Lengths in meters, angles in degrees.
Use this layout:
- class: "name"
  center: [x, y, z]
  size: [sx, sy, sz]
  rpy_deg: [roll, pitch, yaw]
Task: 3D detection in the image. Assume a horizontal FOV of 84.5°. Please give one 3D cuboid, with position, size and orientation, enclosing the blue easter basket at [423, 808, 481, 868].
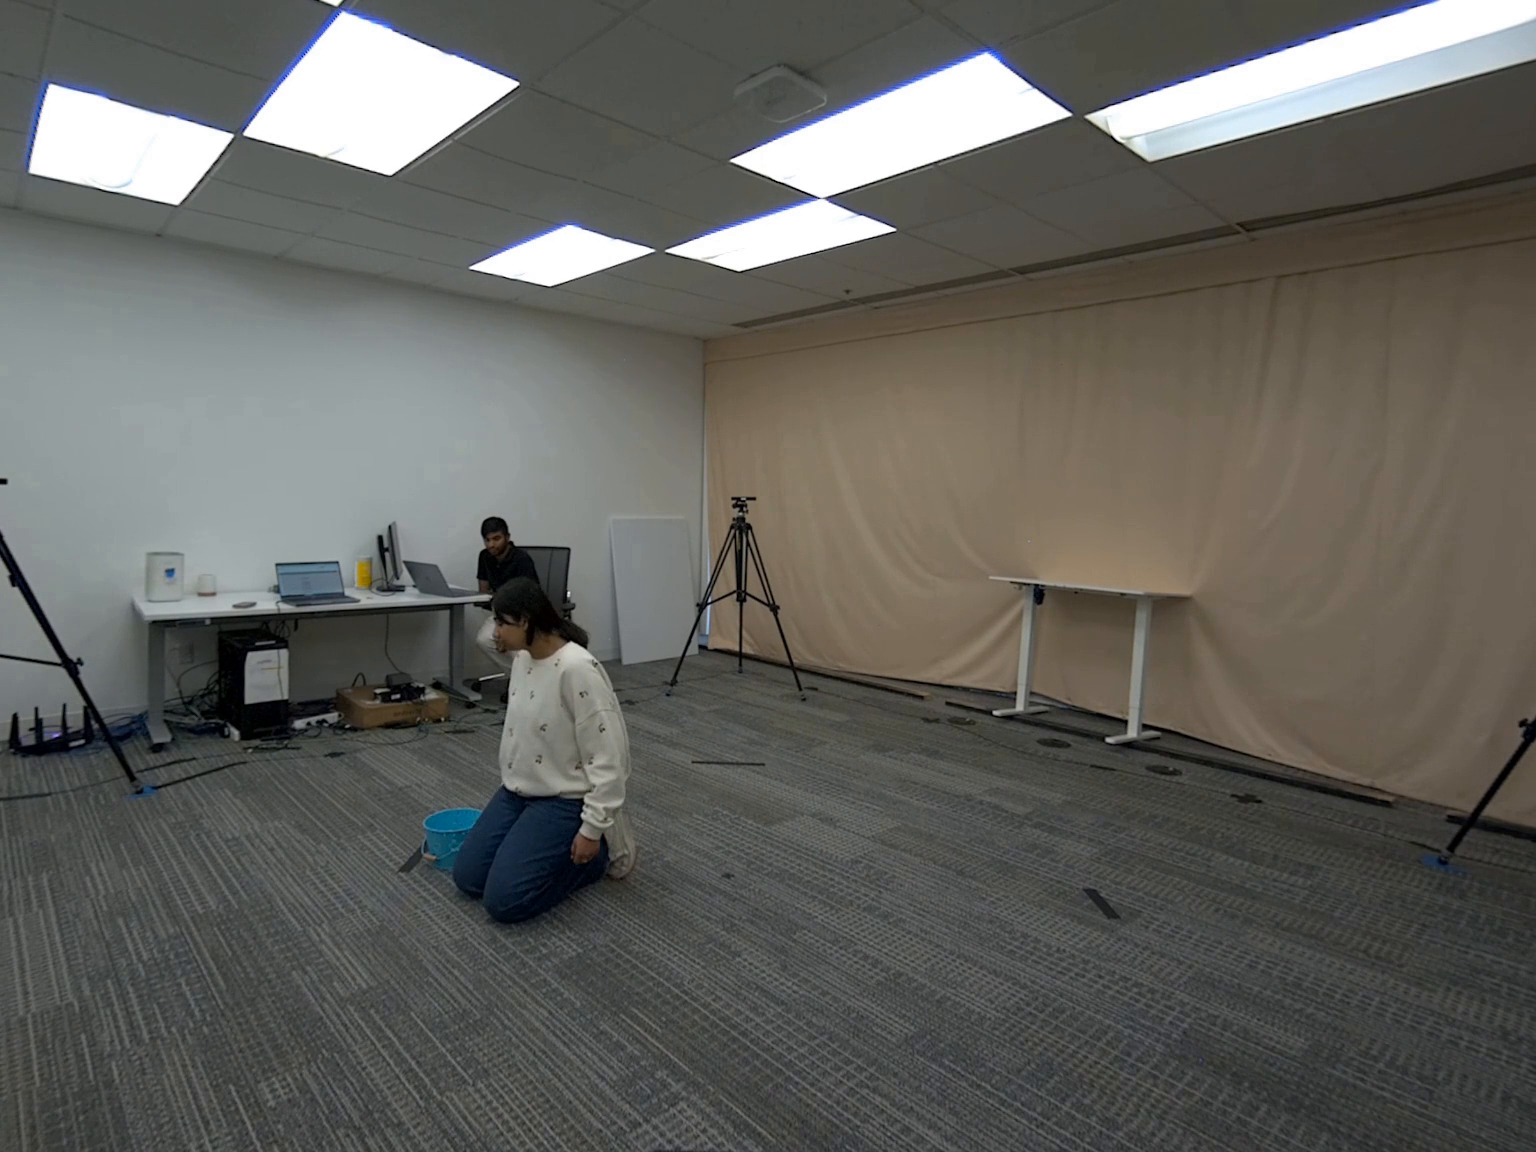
- class: "blue easter basket"
  center: [-1.179, 0.993, 3.201]
  size: [0.243, 0.155, 0.245]
  rpy_deg: [2, 6, -2]
